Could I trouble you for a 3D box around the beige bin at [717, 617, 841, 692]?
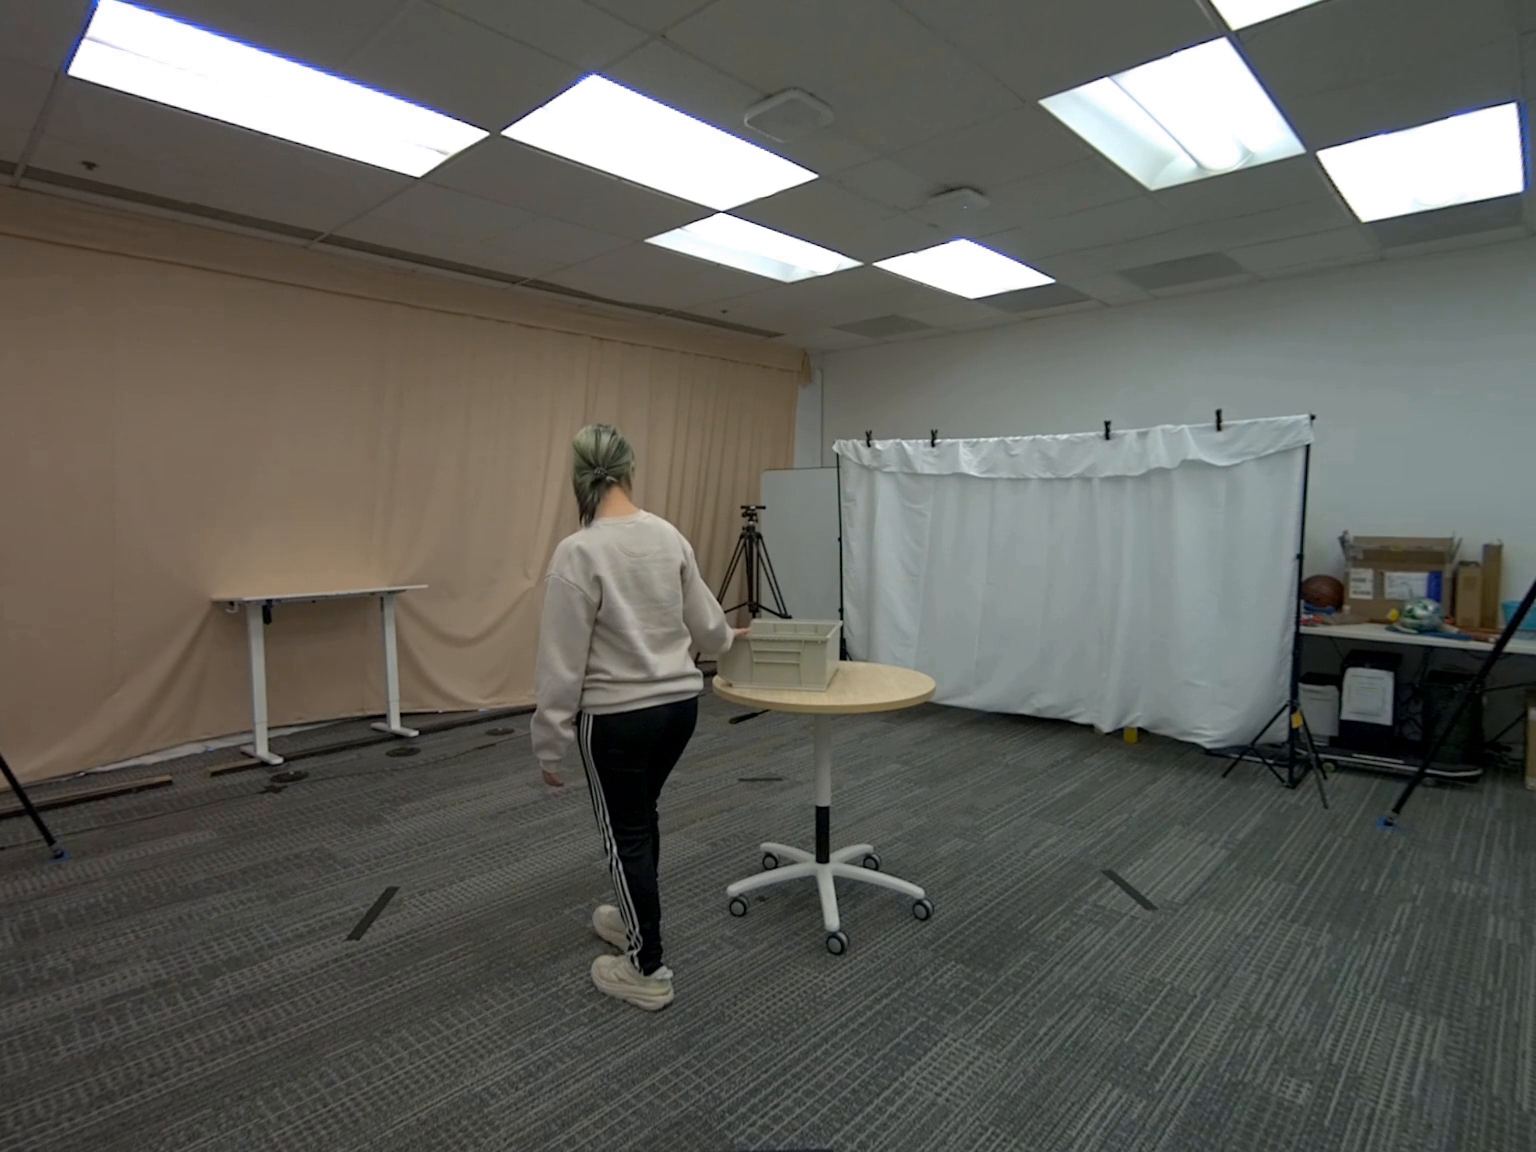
[{"bbox_3d":[0.058,0.269,2.976,0.383,0.188,0.417,2,4,13],"label":"beige bin"}]
